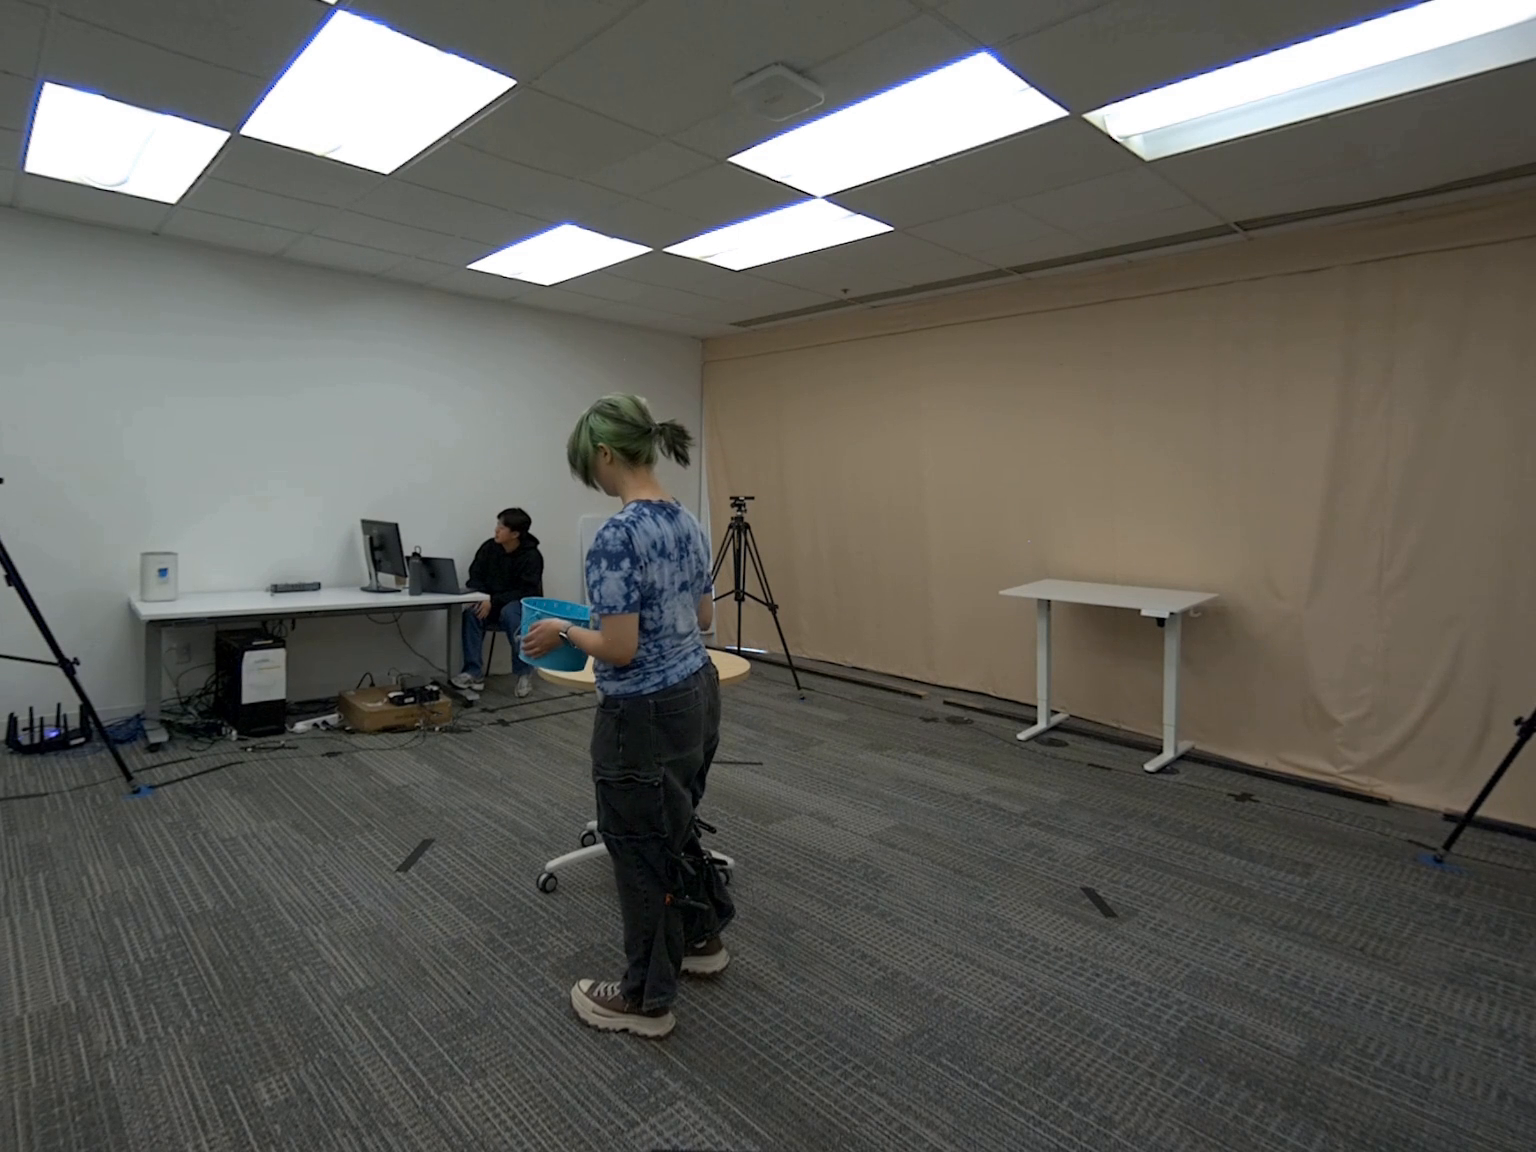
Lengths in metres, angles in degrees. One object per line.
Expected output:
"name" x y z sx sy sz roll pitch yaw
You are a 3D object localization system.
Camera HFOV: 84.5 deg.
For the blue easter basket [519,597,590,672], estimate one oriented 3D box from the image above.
"blue easter basket" -0.569 0.164 2.276 0.243 0.155 0.245 10 9 -3
